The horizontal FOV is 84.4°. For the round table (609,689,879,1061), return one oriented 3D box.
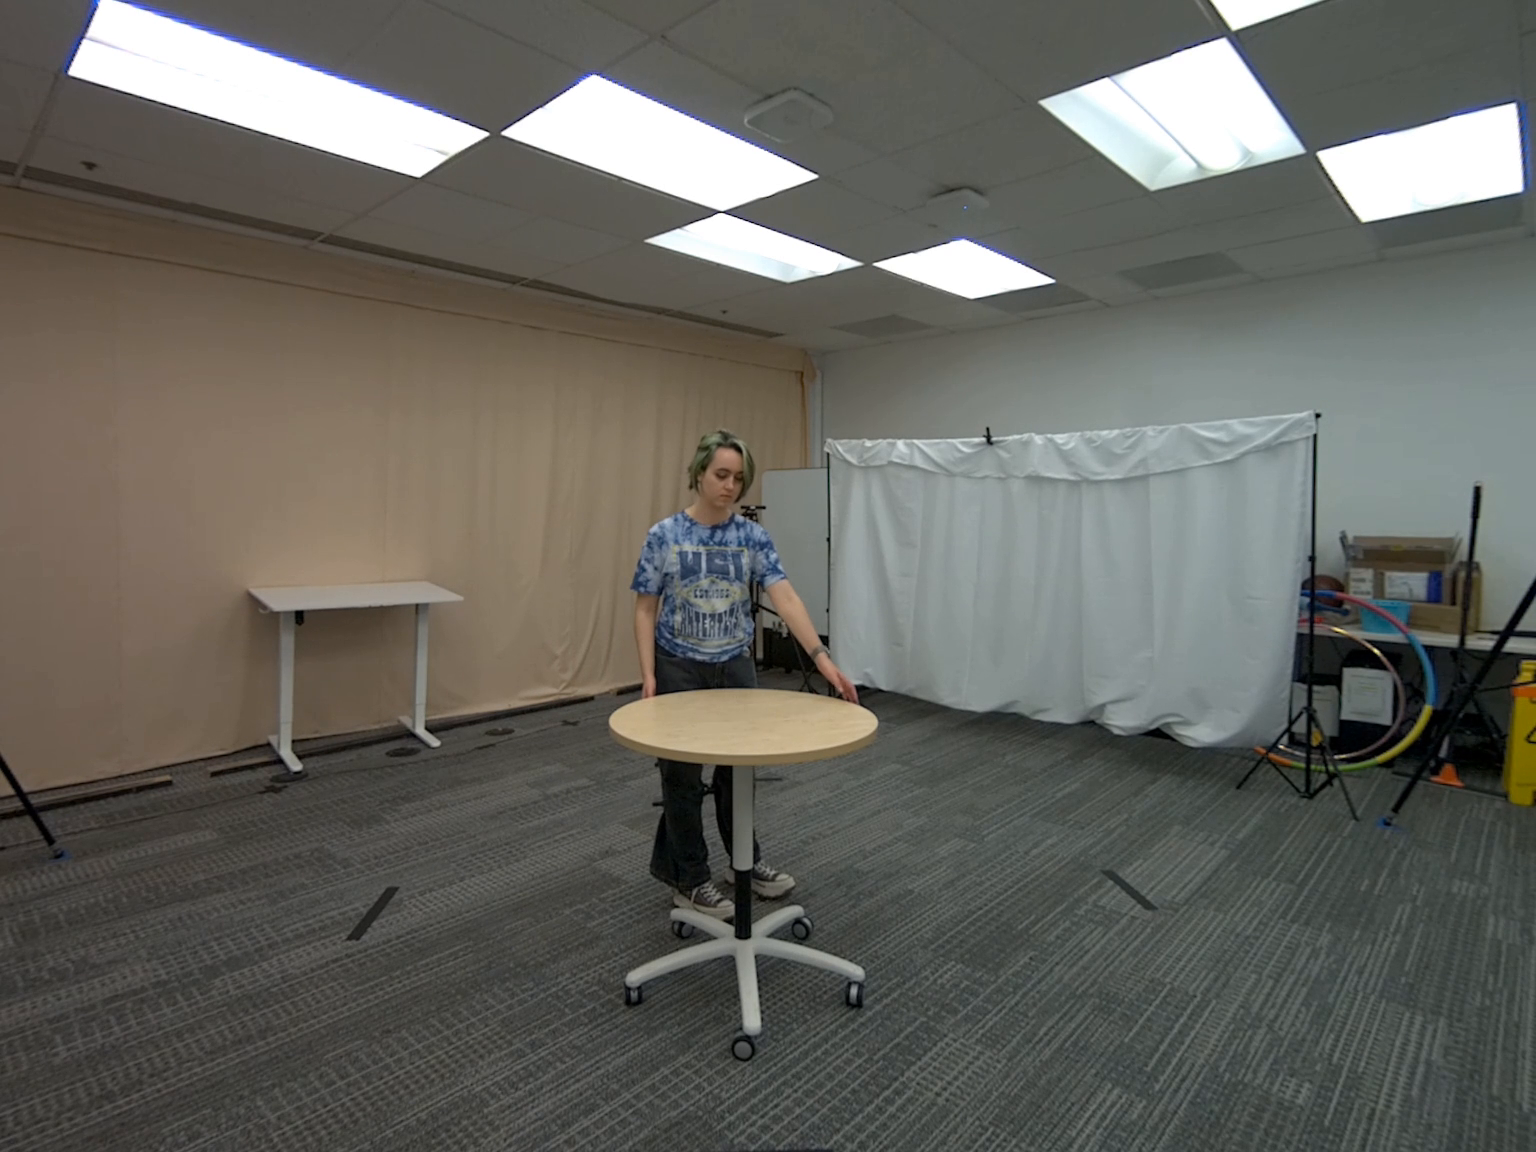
[{"bbox_3d":[-0.065,0.801,2.438,0.763,0.792,0.767,0,4,-2],"label":"round table"}]
